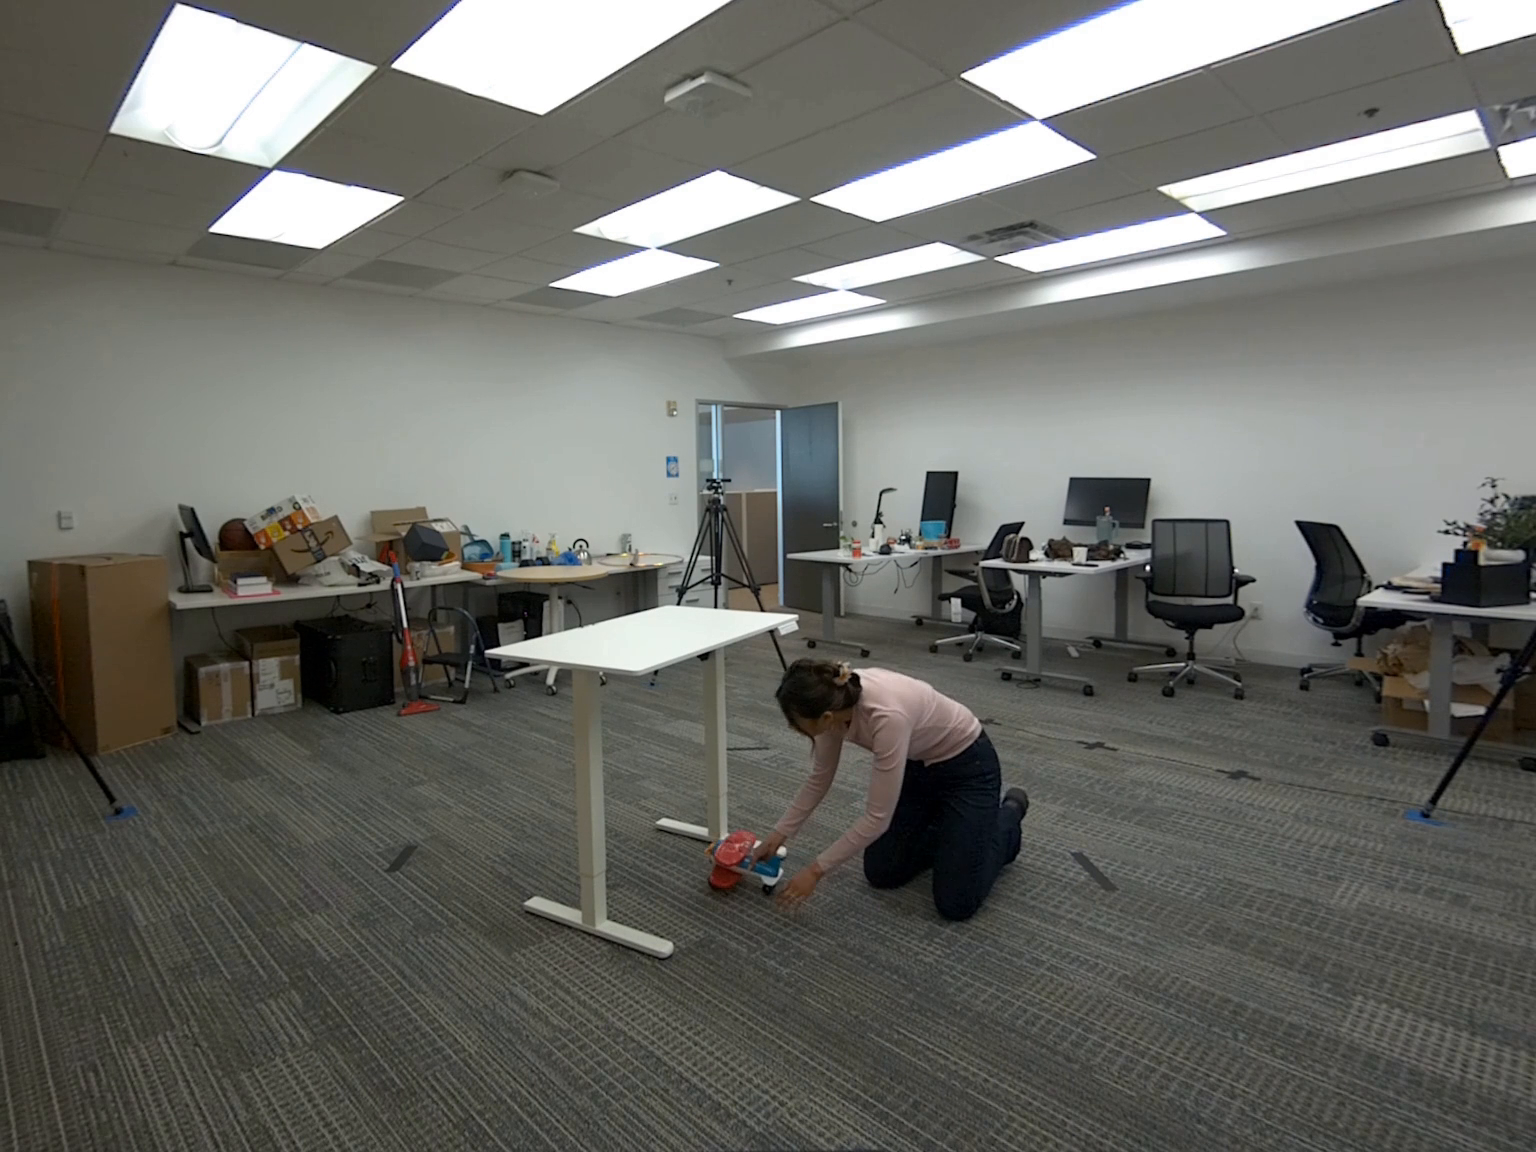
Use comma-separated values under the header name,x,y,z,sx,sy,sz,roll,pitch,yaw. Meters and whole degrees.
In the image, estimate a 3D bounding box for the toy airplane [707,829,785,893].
name,x,y,z,sx,sy,sz,roll,pitch,yaw
toy airplane,-0.072,0.994,2.948,0.257,0.155,0.255,-4,8,-9
